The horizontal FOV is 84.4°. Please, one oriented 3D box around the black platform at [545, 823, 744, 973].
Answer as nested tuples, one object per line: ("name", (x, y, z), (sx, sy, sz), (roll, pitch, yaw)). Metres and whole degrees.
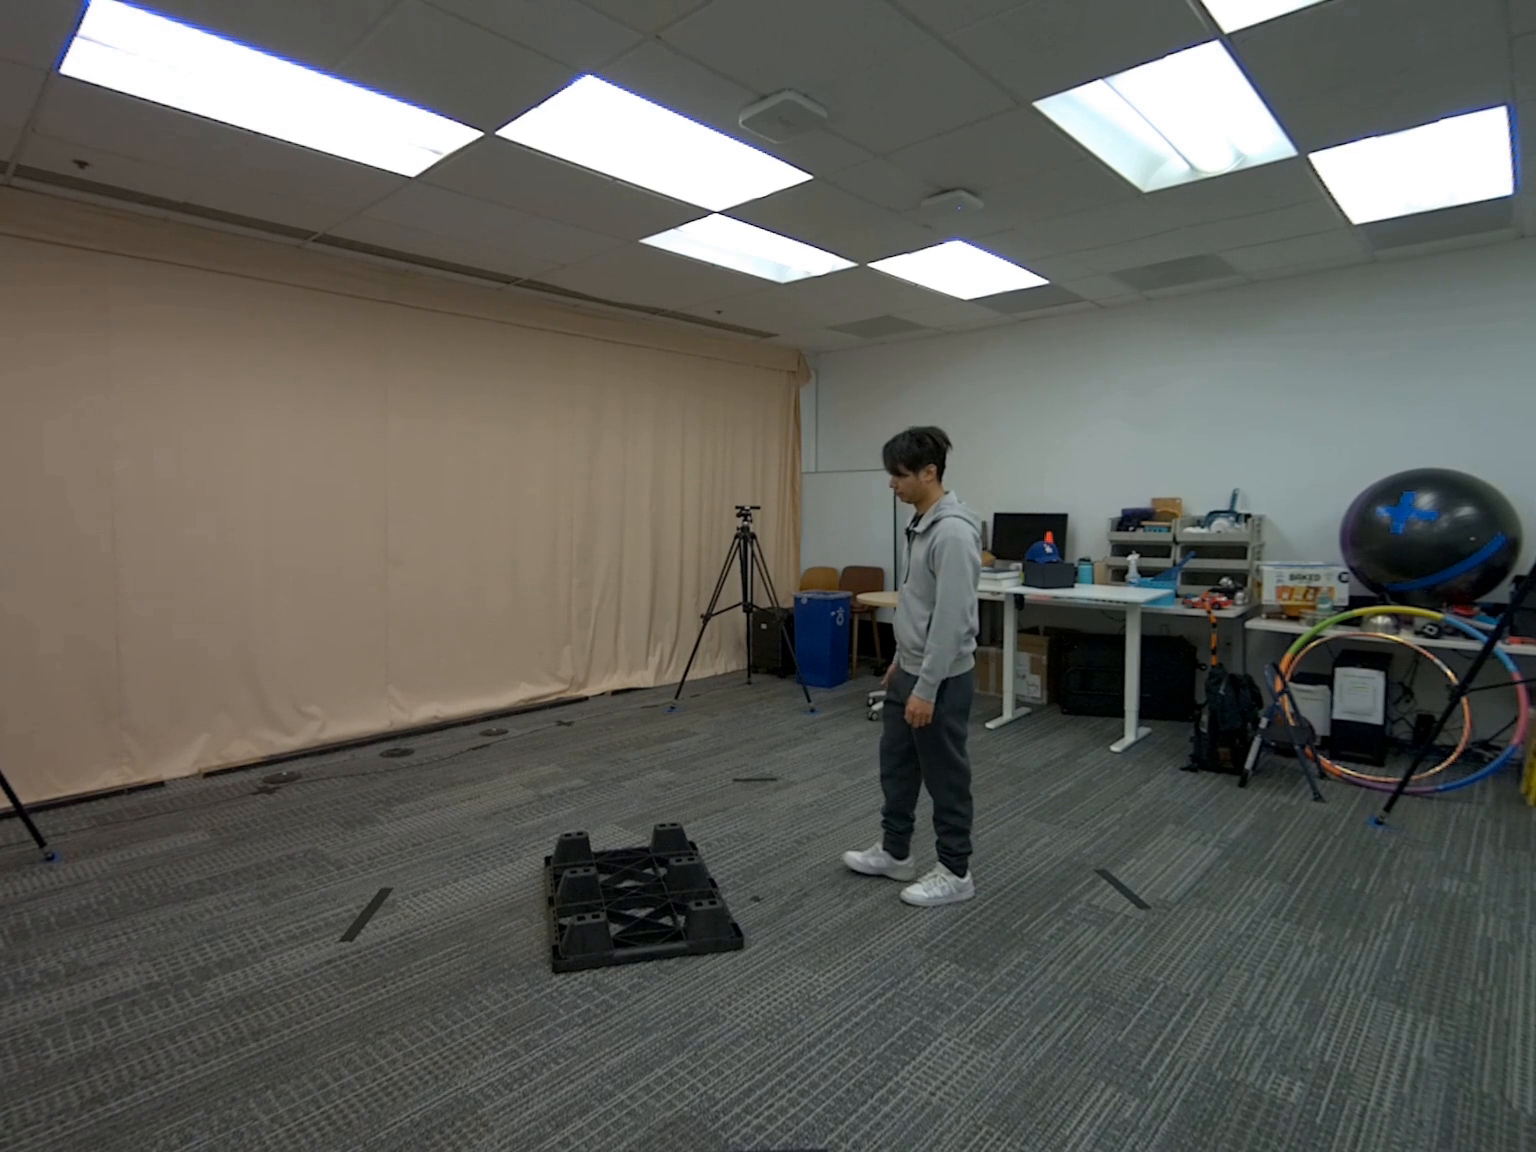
("black platform", (-0.466, 1.083, 2.954), (0.596, 0.143, 0.821), (-2, 5, -16))
